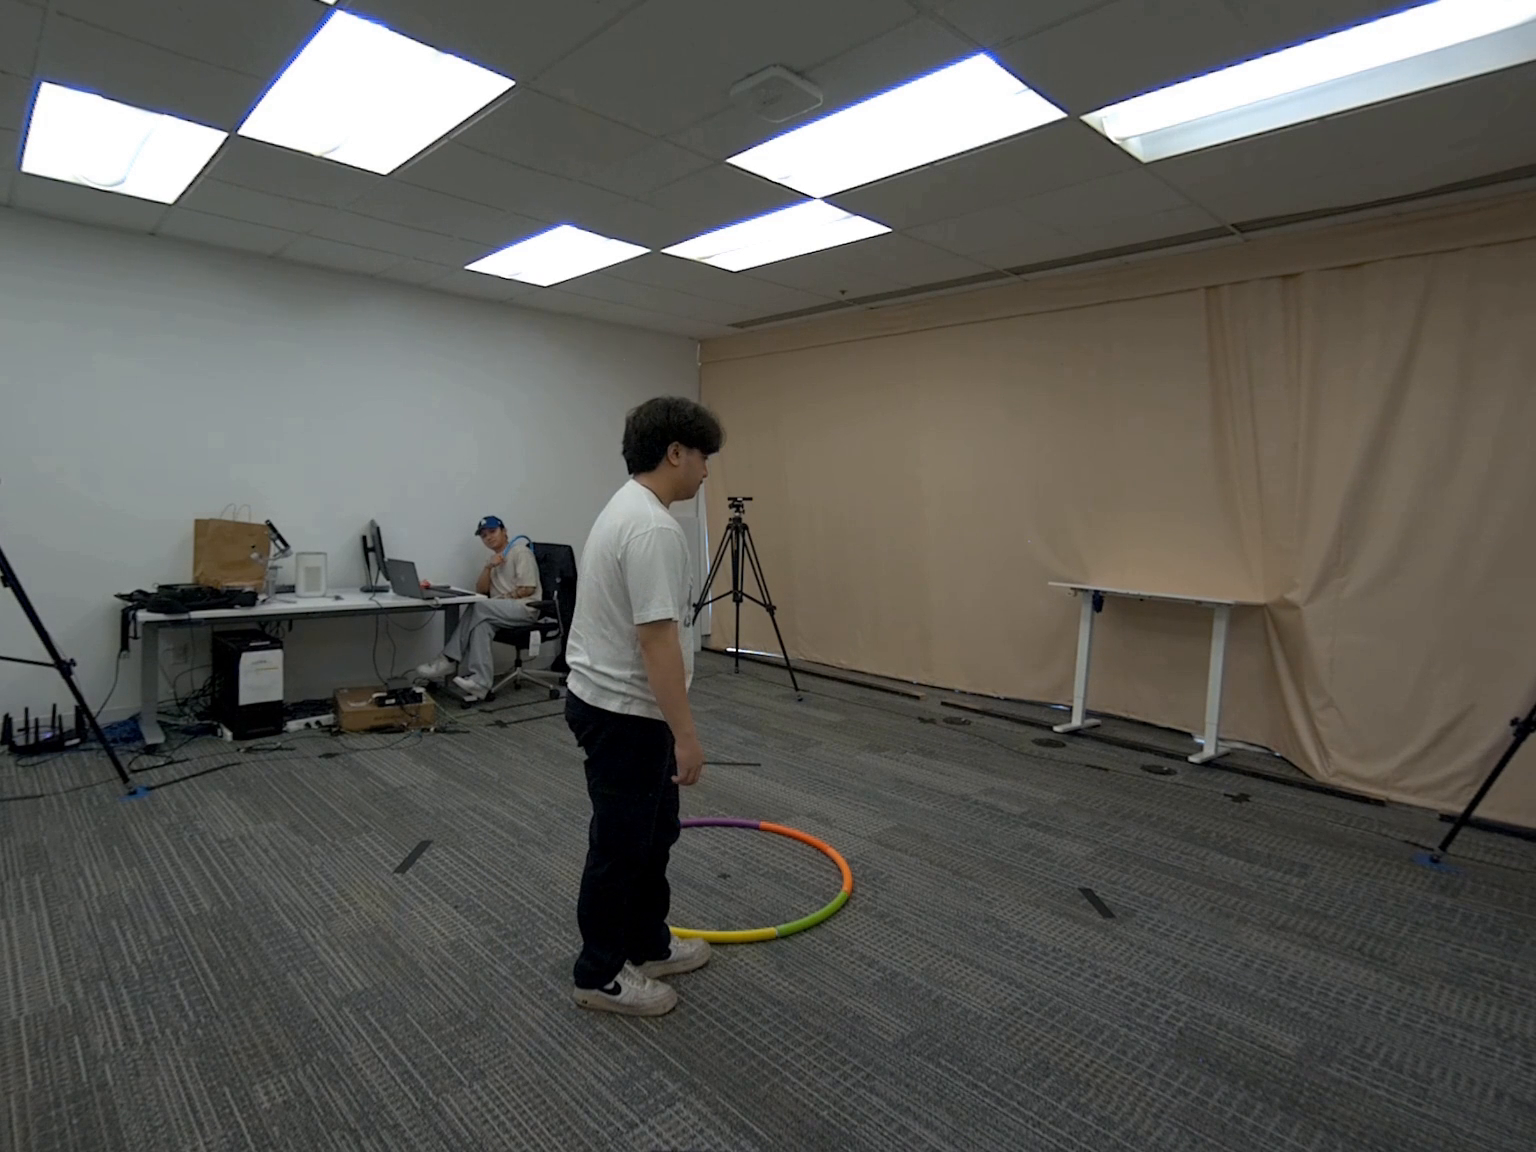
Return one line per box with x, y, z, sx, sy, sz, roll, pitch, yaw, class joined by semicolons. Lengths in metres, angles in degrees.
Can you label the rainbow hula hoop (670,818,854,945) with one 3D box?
-0.192;1.082;3.107;0.985;0.051;0.989;2;5;-1;rainbow hula hoop
